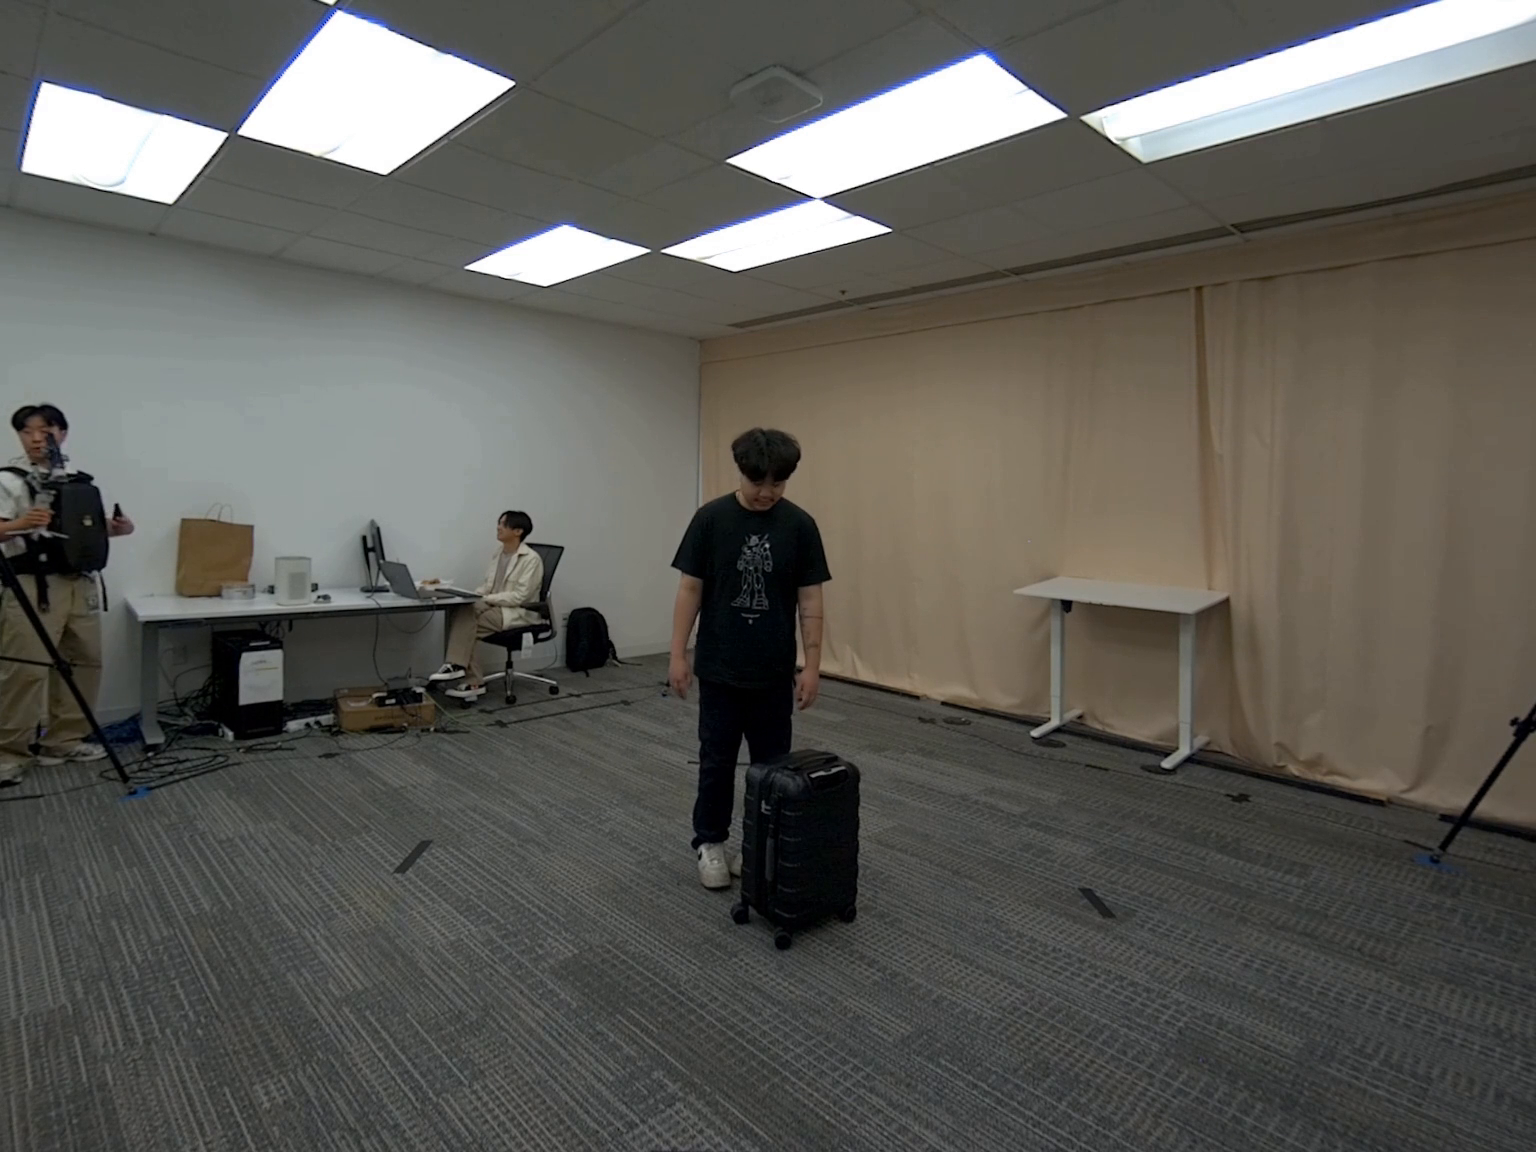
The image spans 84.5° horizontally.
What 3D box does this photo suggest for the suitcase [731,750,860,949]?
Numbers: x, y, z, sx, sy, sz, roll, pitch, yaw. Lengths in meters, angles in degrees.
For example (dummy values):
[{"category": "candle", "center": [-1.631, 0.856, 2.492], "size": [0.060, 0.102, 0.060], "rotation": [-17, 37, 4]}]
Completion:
[{"category": "suitcase", "center": [0.100, 0.865, 2.775], "size": [0.367, 0.548, 0.255], "rotation": [-2, 6, -41]}]
